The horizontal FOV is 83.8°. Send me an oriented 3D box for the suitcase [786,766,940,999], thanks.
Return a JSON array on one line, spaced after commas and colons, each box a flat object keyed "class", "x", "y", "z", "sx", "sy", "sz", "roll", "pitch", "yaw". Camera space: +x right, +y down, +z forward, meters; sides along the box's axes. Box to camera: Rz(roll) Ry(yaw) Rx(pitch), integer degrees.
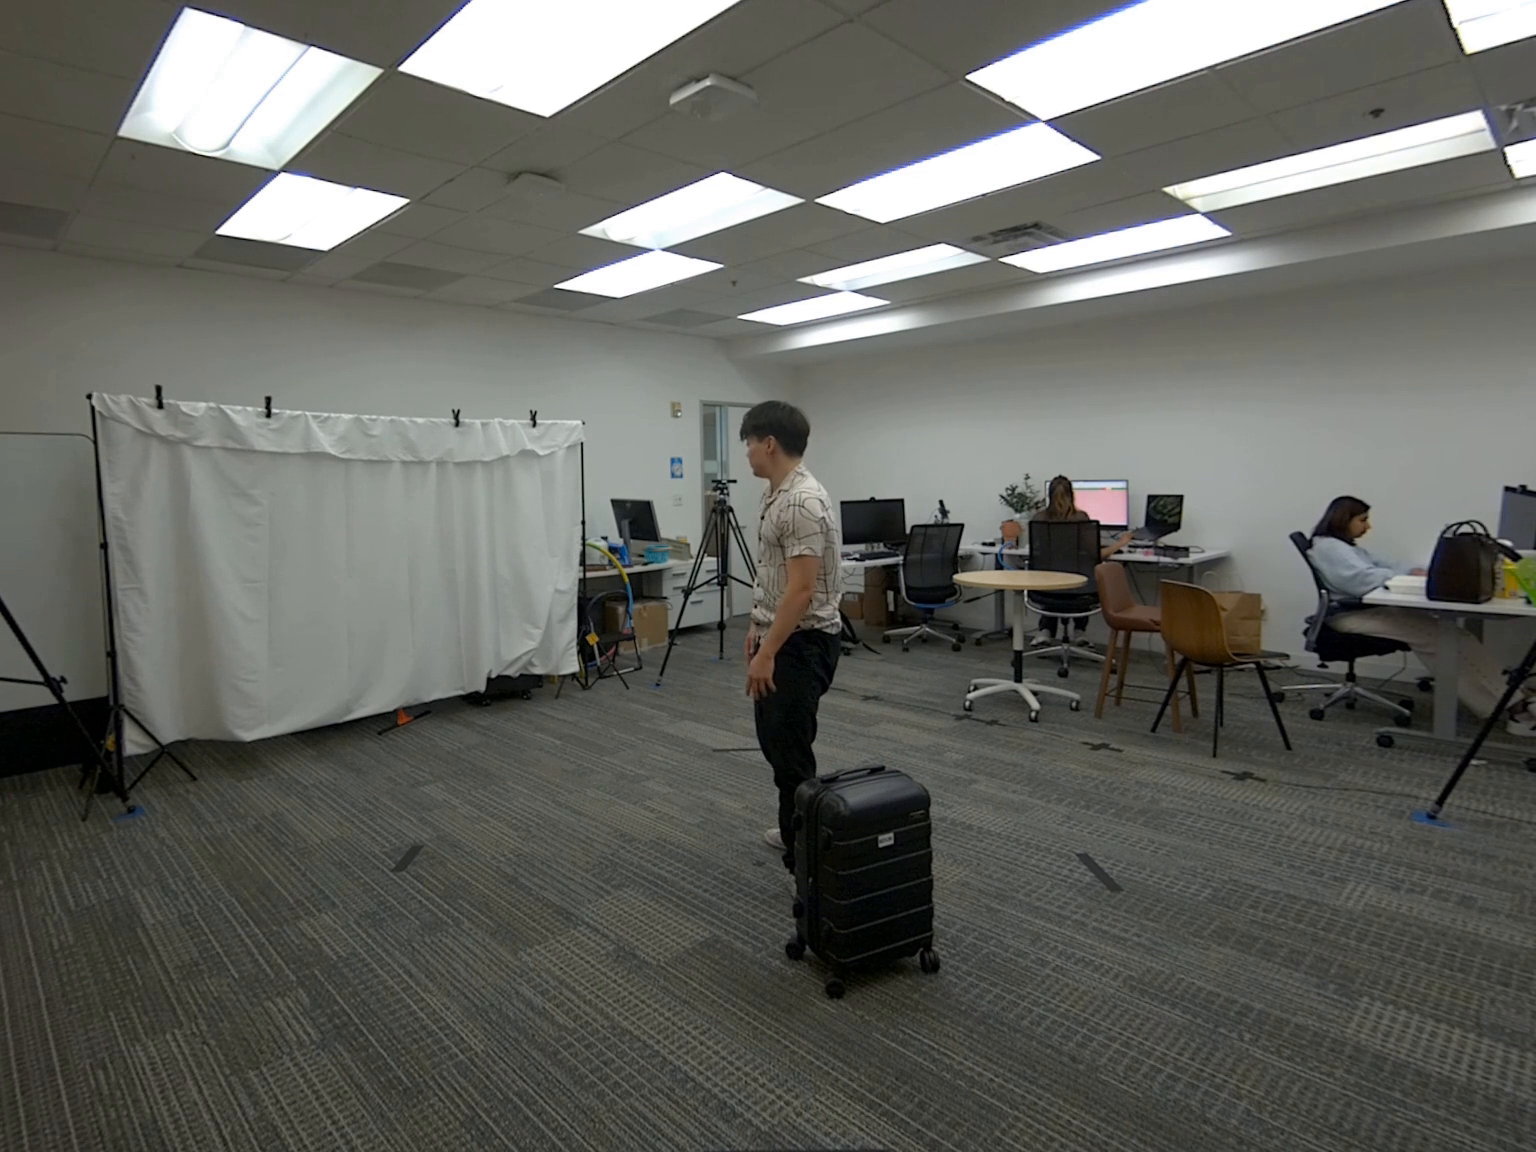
[{"class": "suitcase", "x": 0.281, "y": 0.843, "z": 2.451, "sx": 0.367, "sy": 0.547, "sz": 0.254, "roll": -3, "pitch": 4, "yaw": -26}]
